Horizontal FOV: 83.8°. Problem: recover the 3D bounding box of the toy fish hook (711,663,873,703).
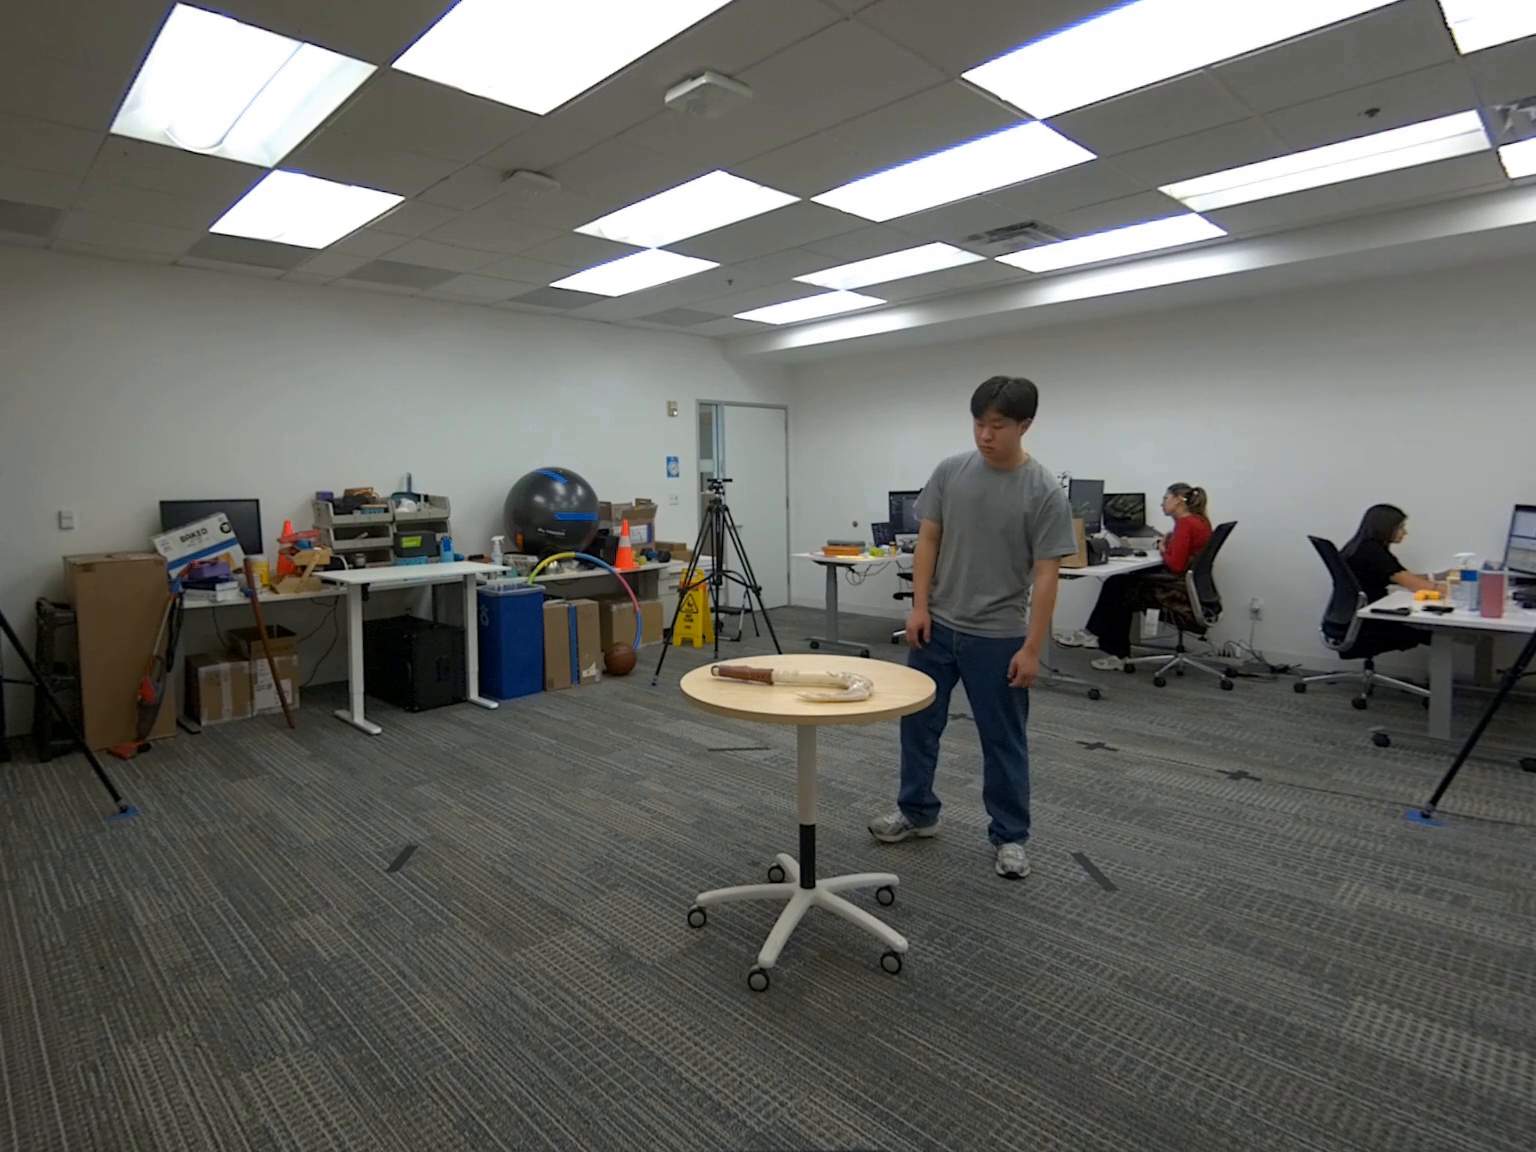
[{"bbox_3d":[0.062,0.314,2.479,0.517,0.048,0.221,2,6,21],"label":"toy fish hook"}]
